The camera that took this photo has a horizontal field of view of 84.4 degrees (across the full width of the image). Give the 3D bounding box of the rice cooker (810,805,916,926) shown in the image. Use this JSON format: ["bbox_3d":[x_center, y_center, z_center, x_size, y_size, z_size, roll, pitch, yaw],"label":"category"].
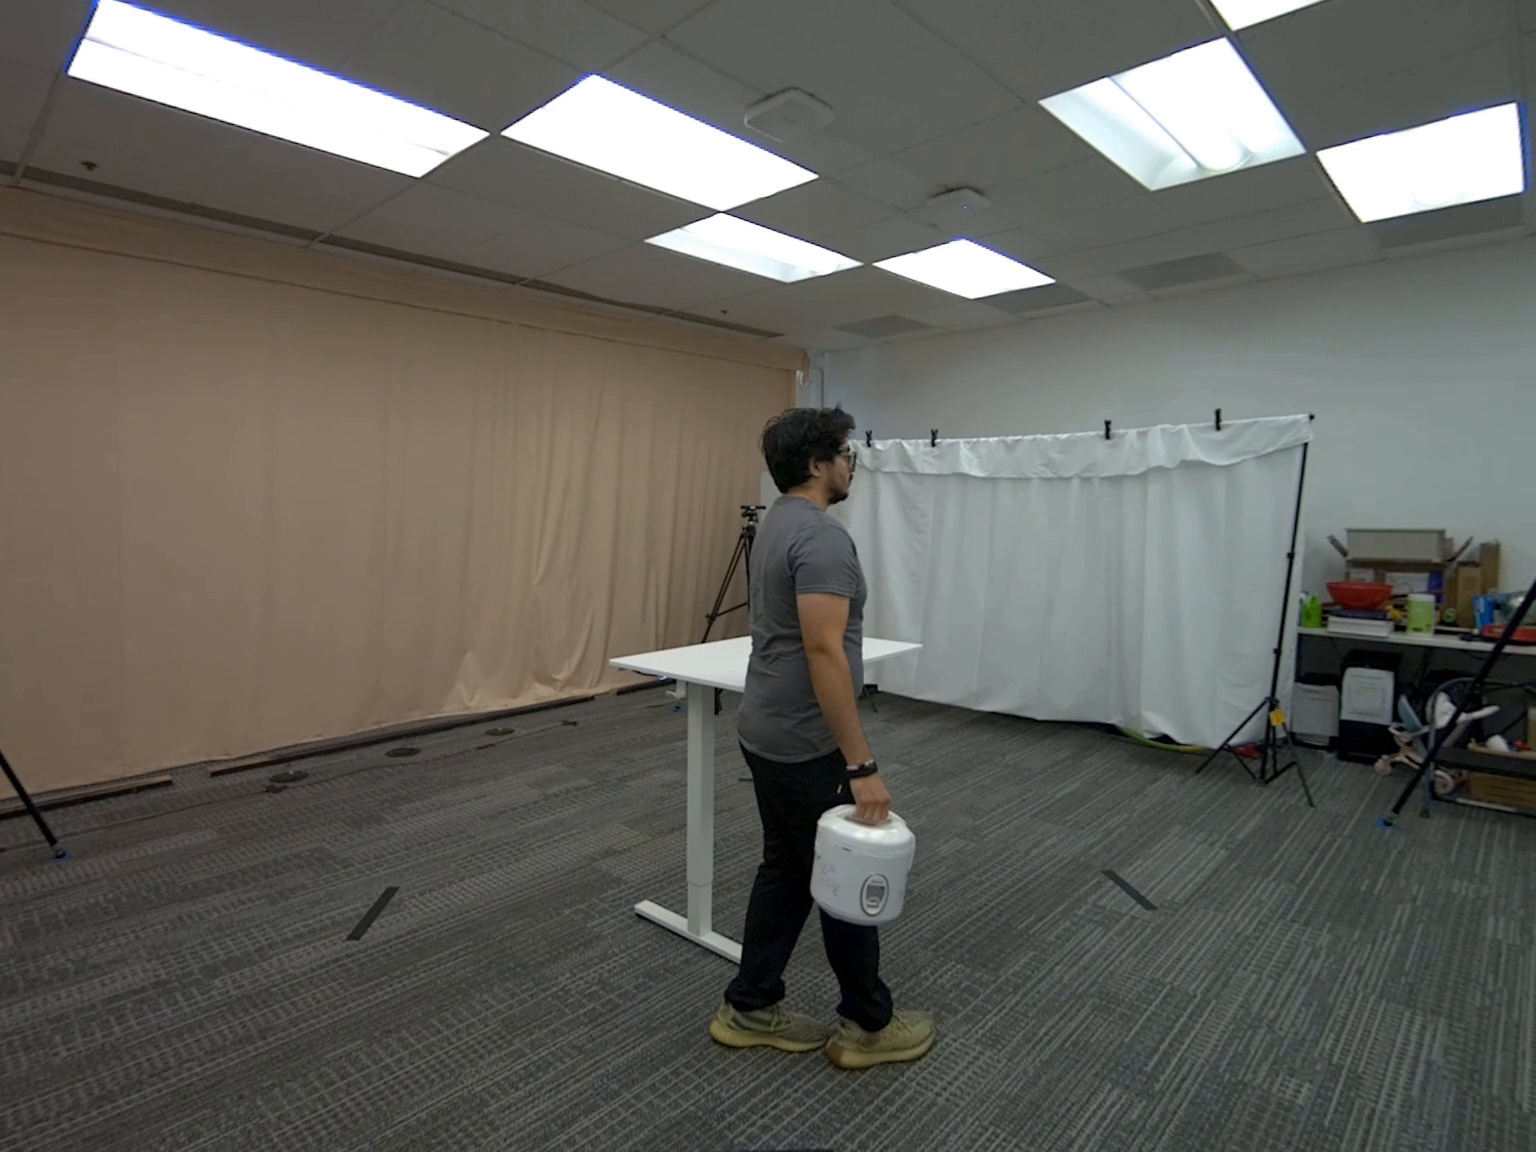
[{"bbox_3d":[0.218,0.620,1.870,0.218,0.233,0.220,7,1,-9],"label":"rice cooker"}]
